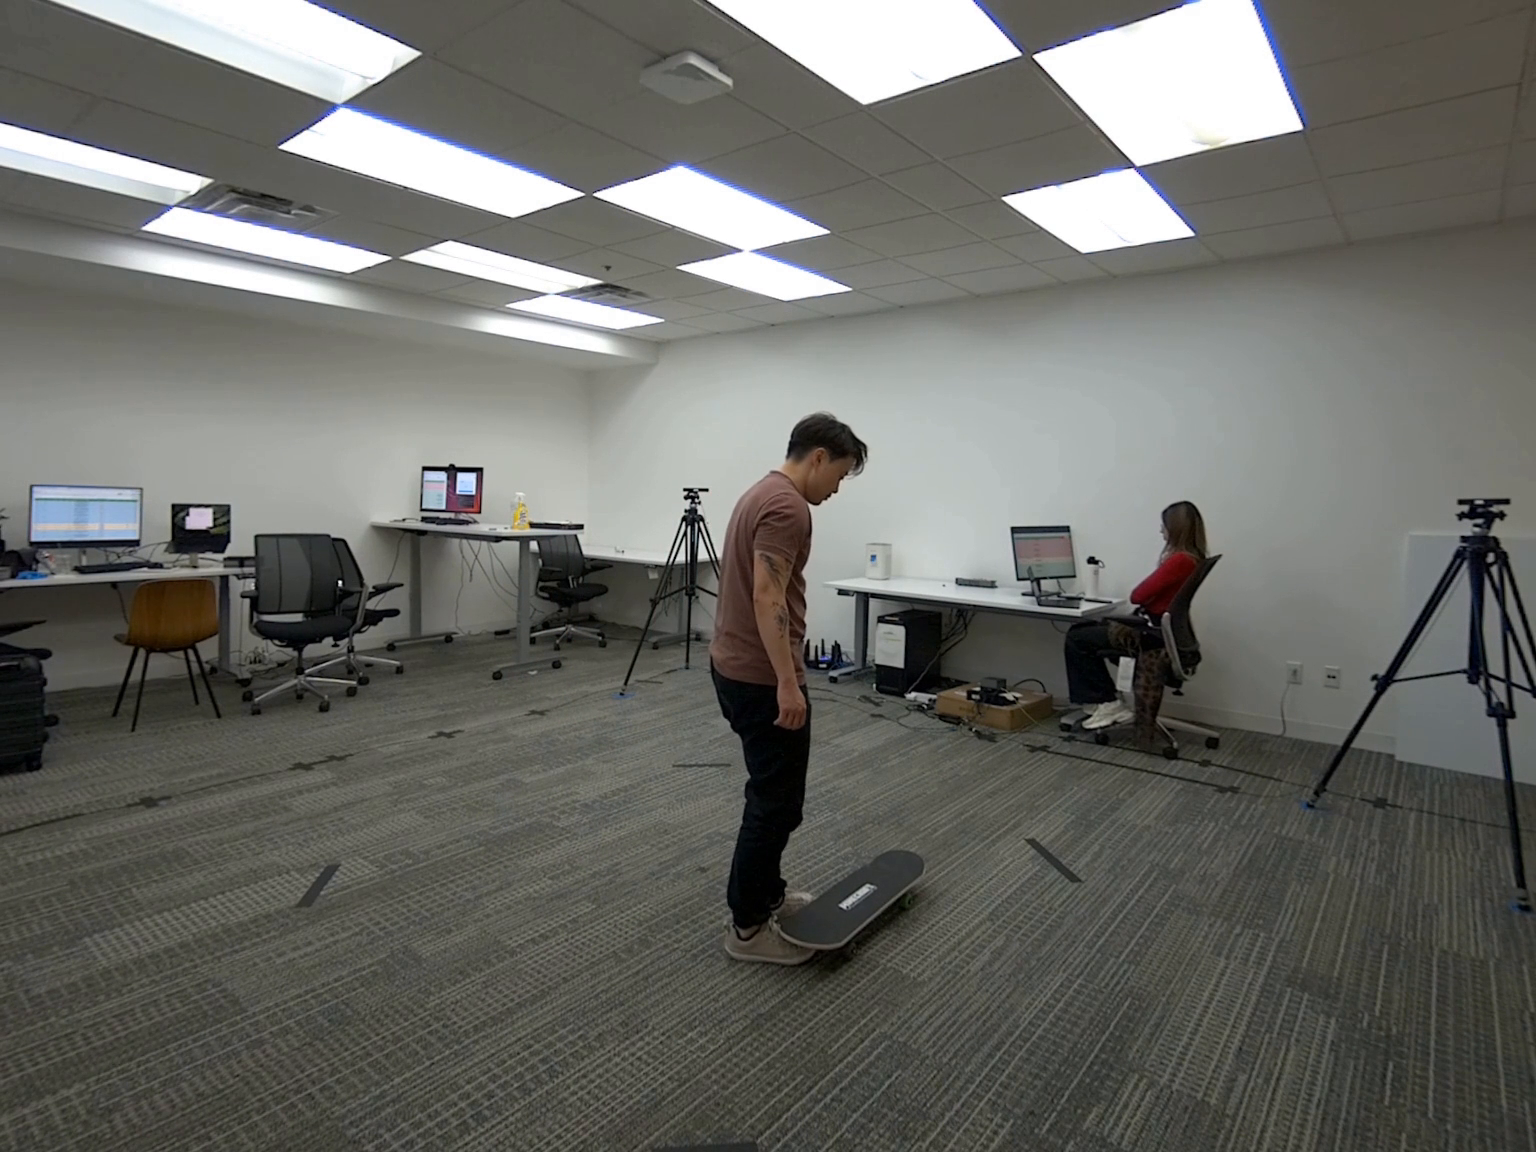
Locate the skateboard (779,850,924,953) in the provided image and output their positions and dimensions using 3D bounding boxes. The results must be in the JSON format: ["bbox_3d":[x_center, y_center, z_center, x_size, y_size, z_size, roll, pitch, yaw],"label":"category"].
[{"bbox_3d":[0.291,1.062,2.739,0.199,0.110,0.764,4,6,34],"label":"skateboard"}]
